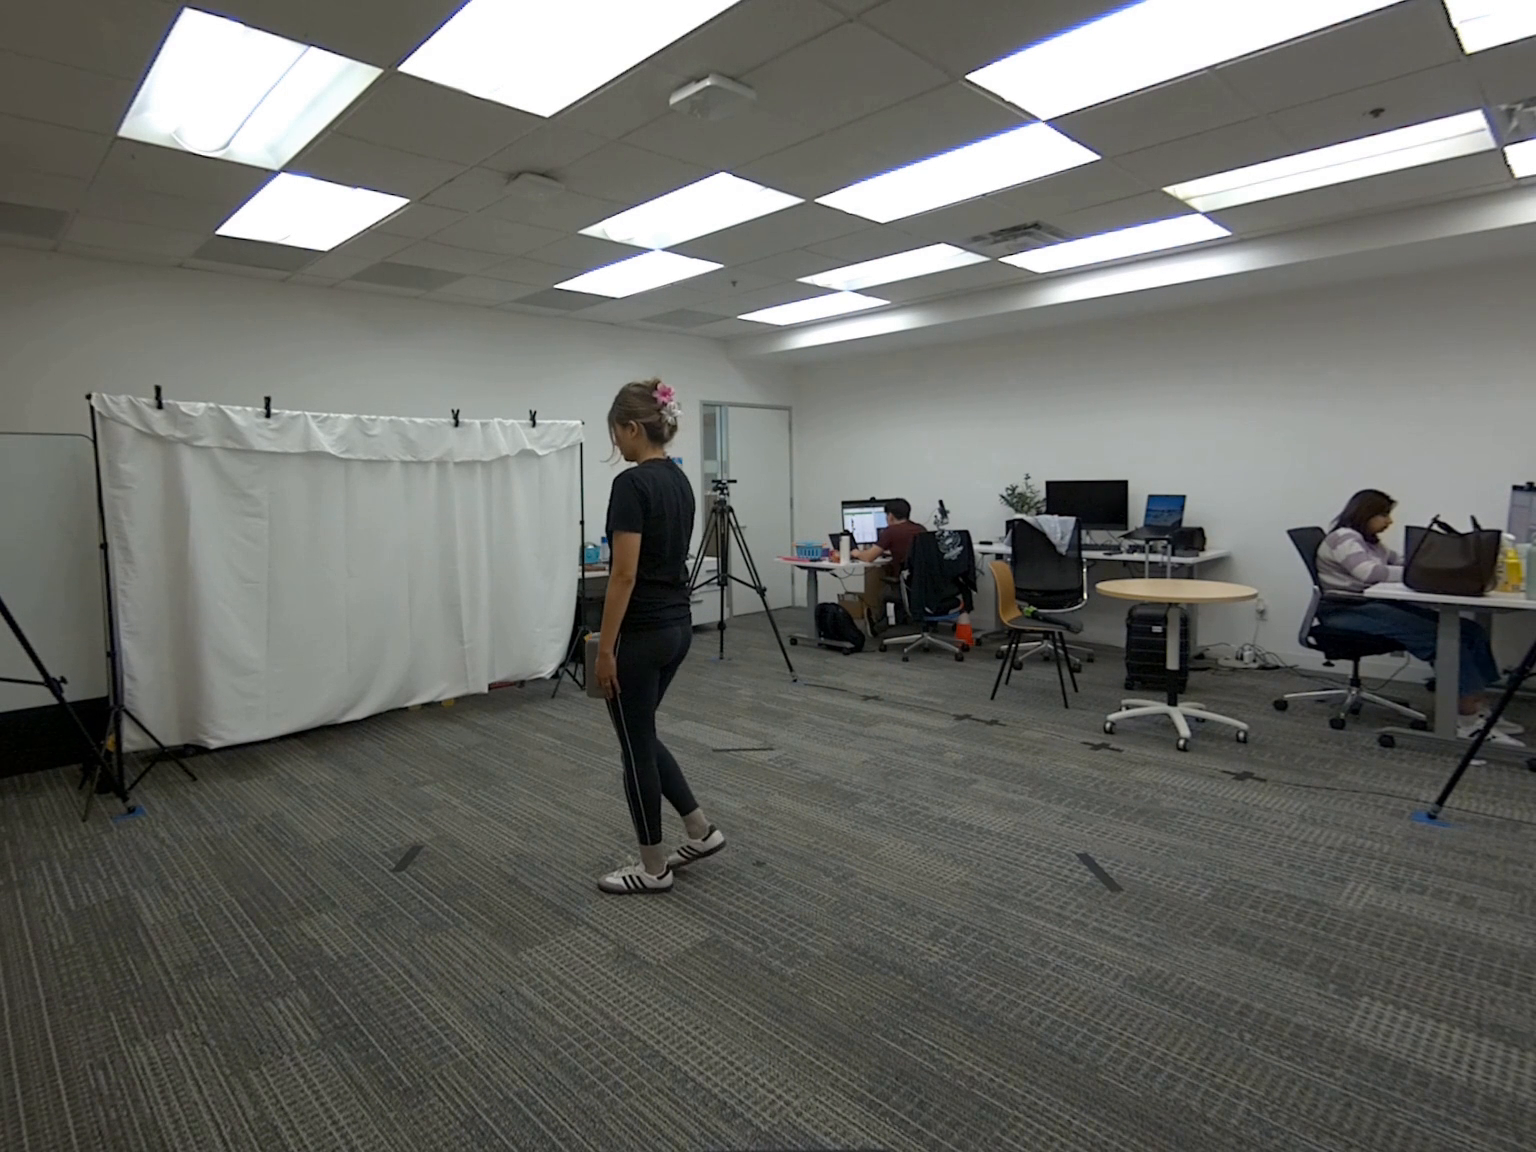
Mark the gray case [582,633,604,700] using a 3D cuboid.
[{"bbox_3d":[-0.591,0.355,3.348,0.259,0.258,0.104,4,11,8],"label":"gray case"}]
